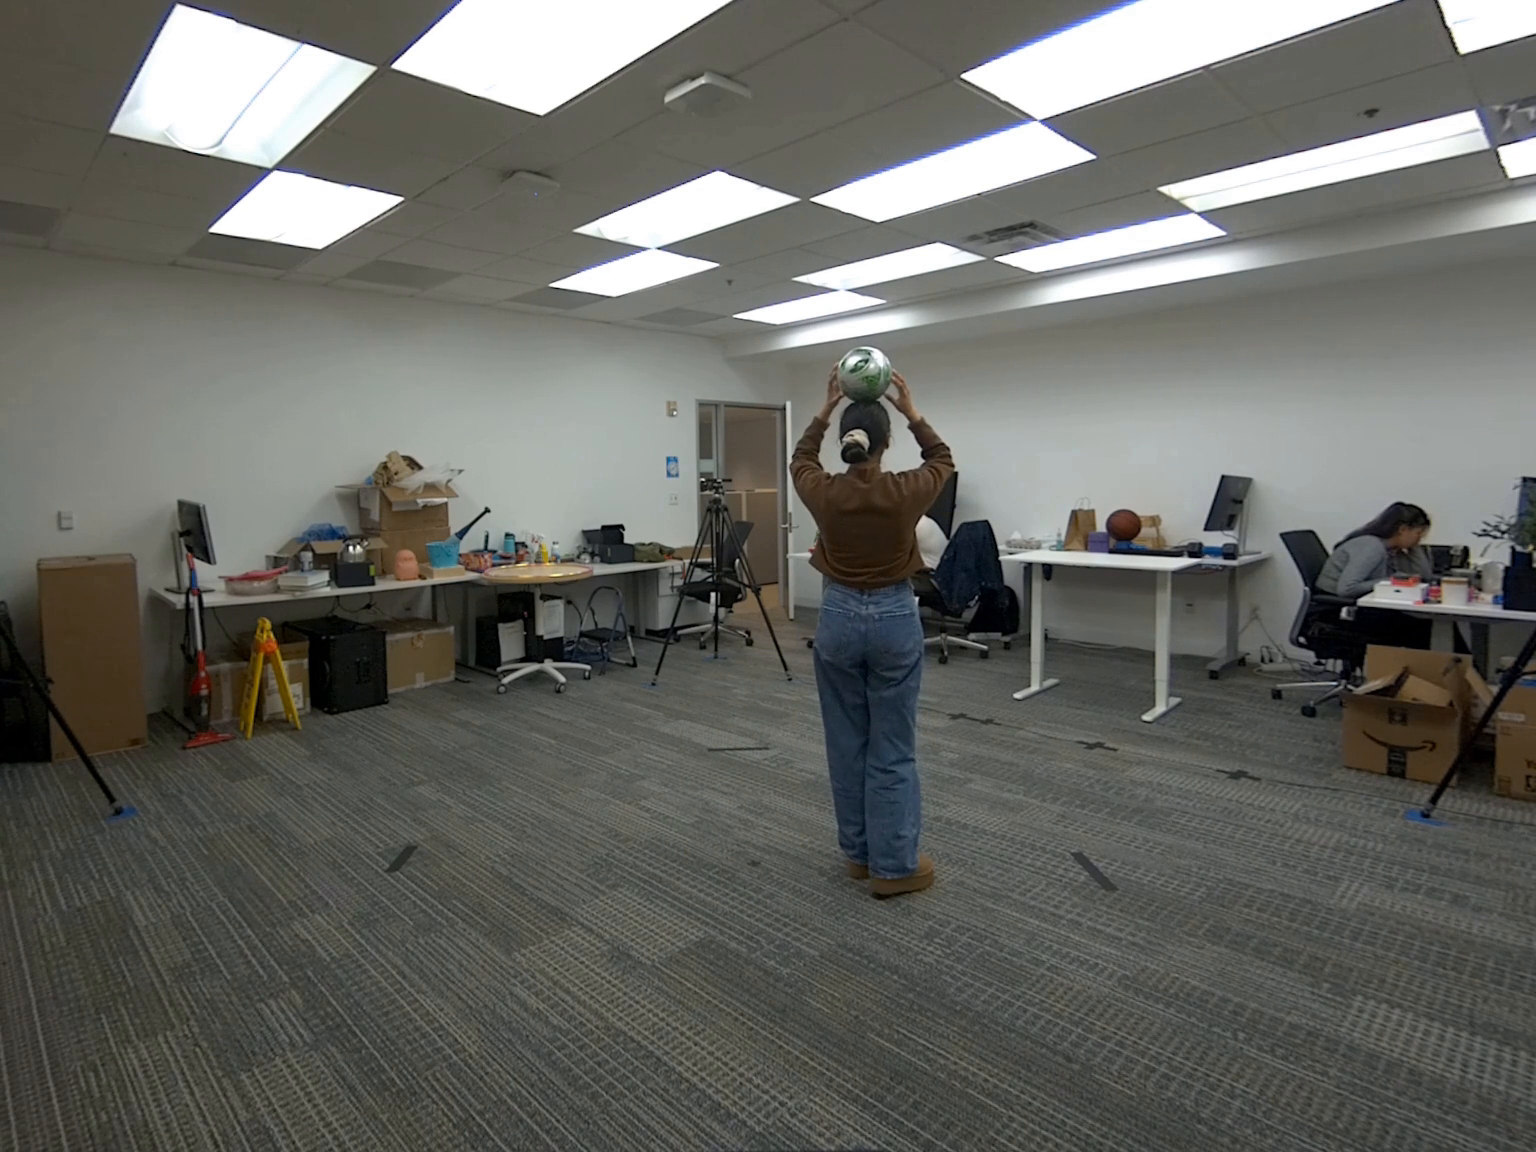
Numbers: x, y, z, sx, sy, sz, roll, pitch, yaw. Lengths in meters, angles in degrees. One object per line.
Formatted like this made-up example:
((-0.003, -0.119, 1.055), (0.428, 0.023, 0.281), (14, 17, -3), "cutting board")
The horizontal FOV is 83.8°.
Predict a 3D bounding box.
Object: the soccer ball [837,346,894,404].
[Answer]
((0.333, -0.688, 2.916), (0.187, 0.187, 0.188), (-1, 5, -2), "soccer ball")
